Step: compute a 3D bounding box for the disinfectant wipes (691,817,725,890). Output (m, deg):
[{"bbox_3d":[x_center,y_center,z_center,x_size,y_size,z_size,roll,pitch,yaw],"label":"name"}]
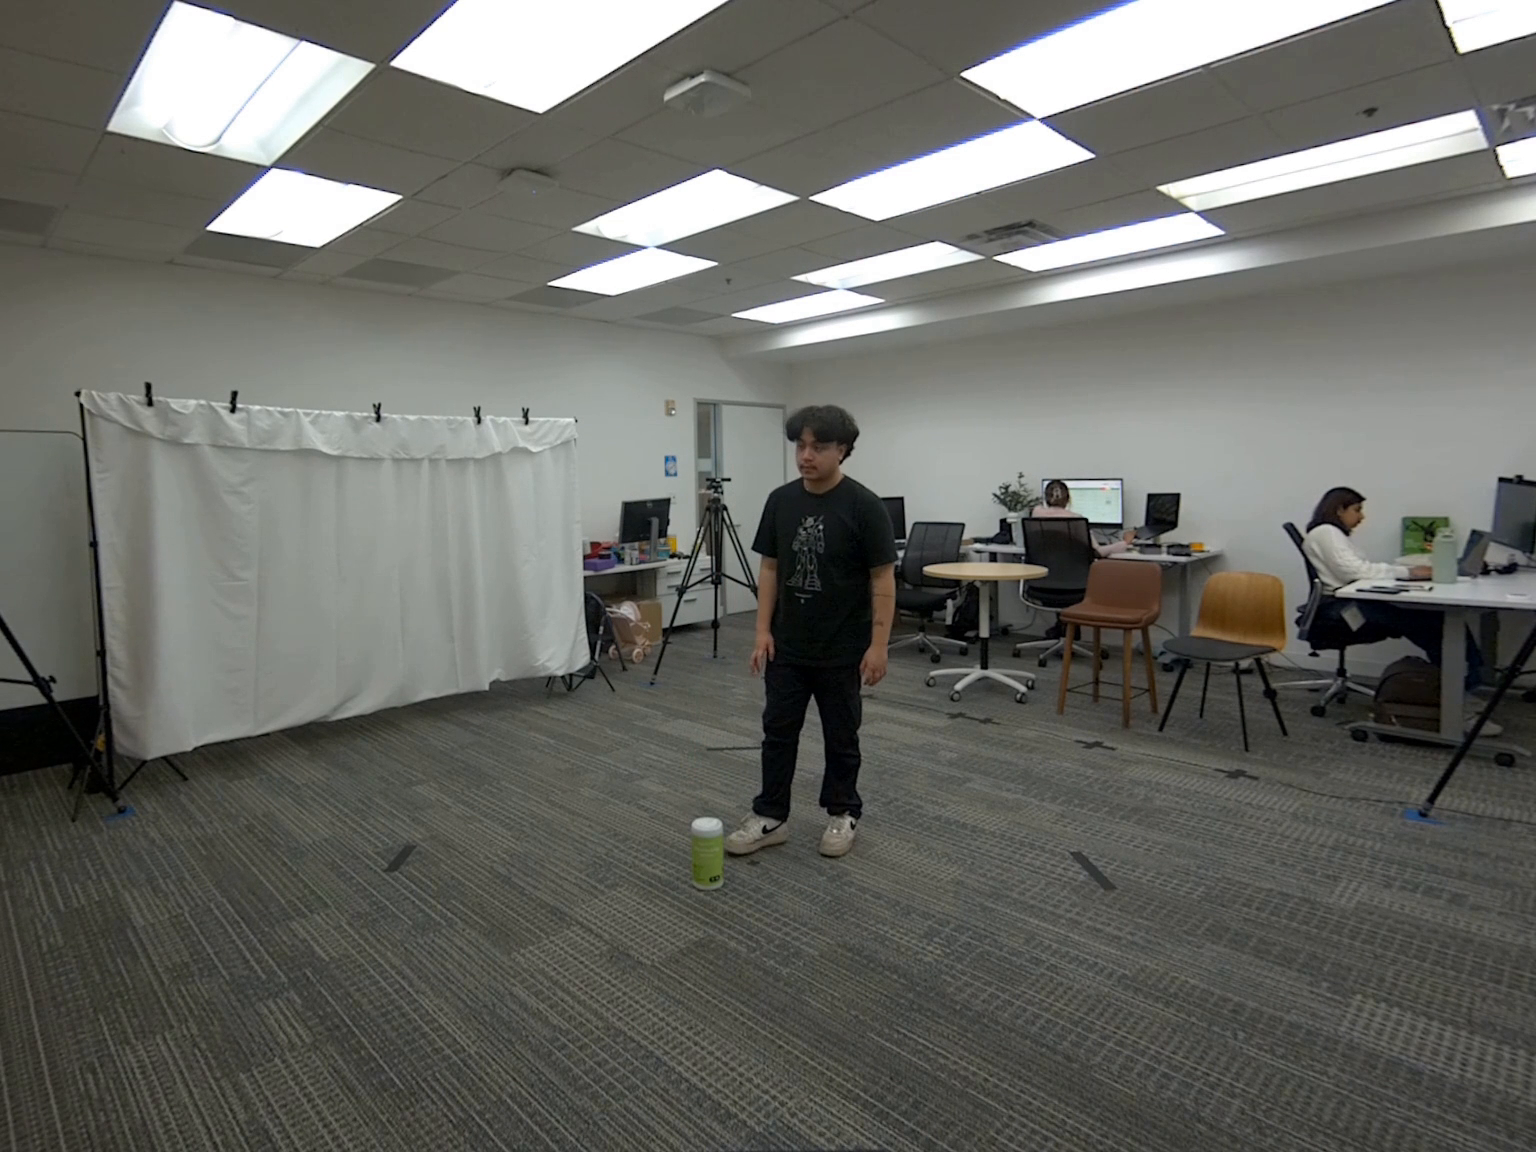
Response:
[{"bbox_3d":[-0.204,0.961,2.943,0.118,0.216,0.118,-1,6,-2],"label":"disinfectant wipes"}]
